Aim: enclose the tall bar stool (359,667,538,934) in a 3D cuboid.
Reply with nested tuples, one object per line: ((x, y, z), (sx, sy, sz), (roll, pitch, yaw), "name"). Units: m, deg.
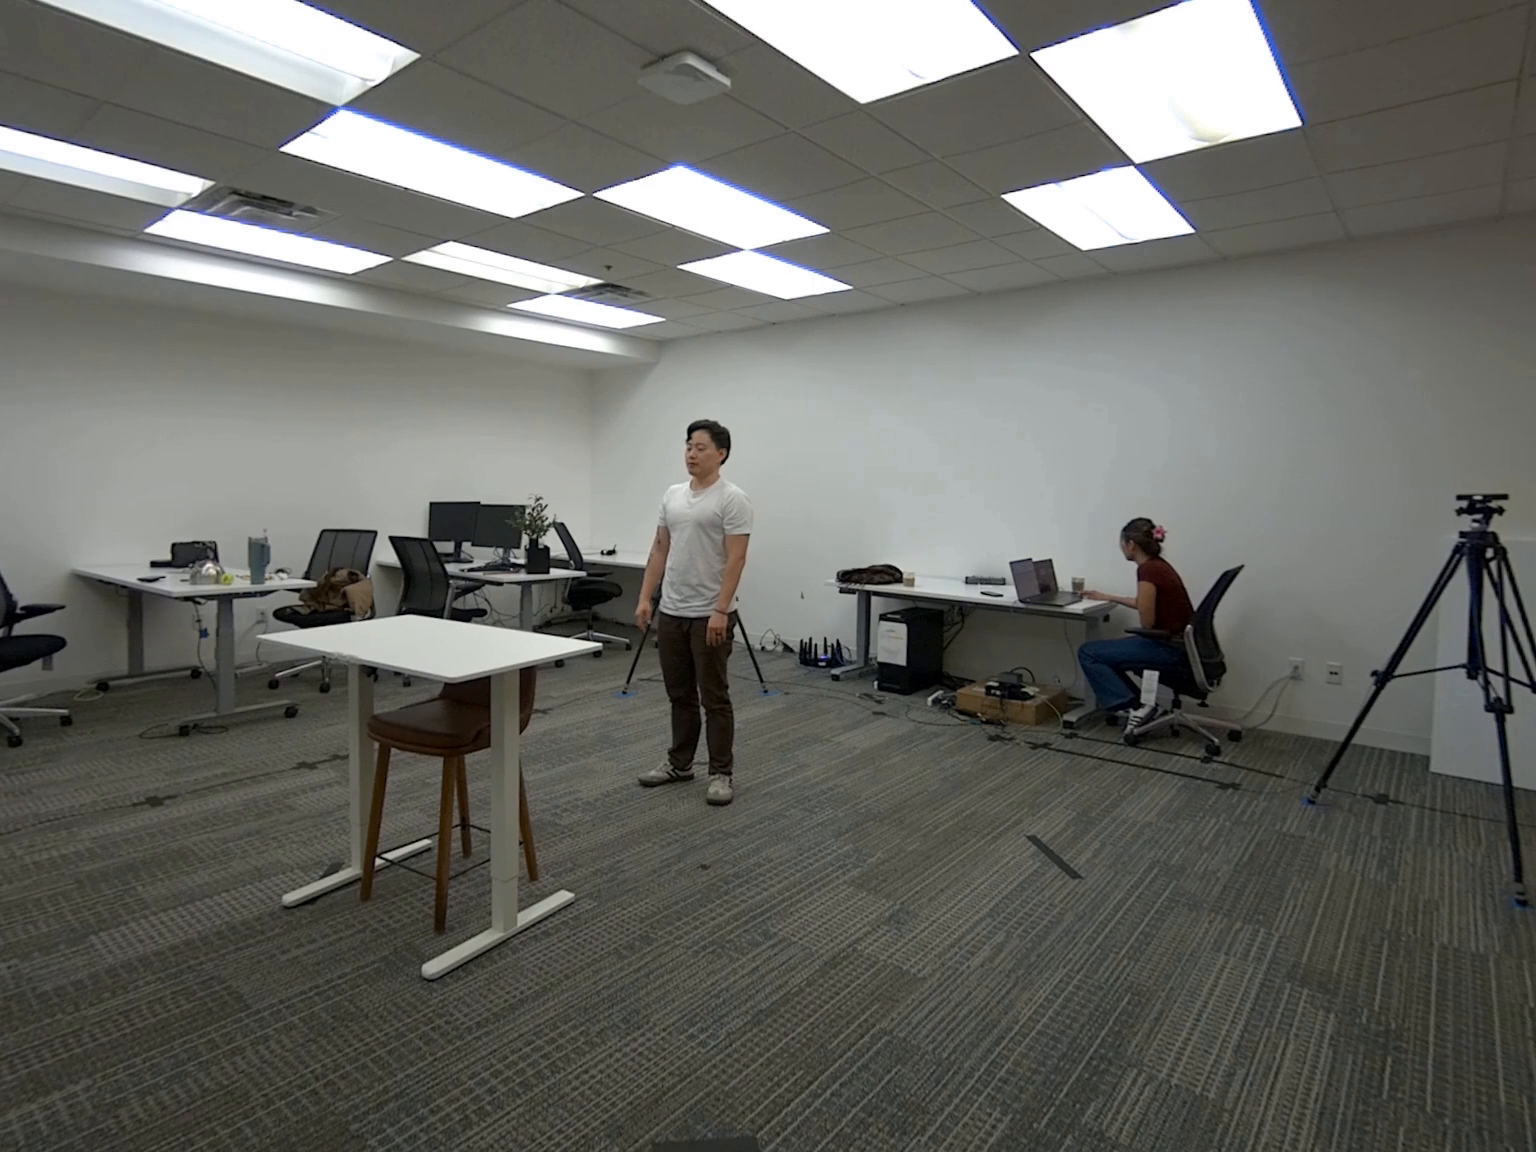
((-1.085, 0.644, 2.901), (0.470, 0.888, 0.454), (3, 3, 32), "tall bar stool")
